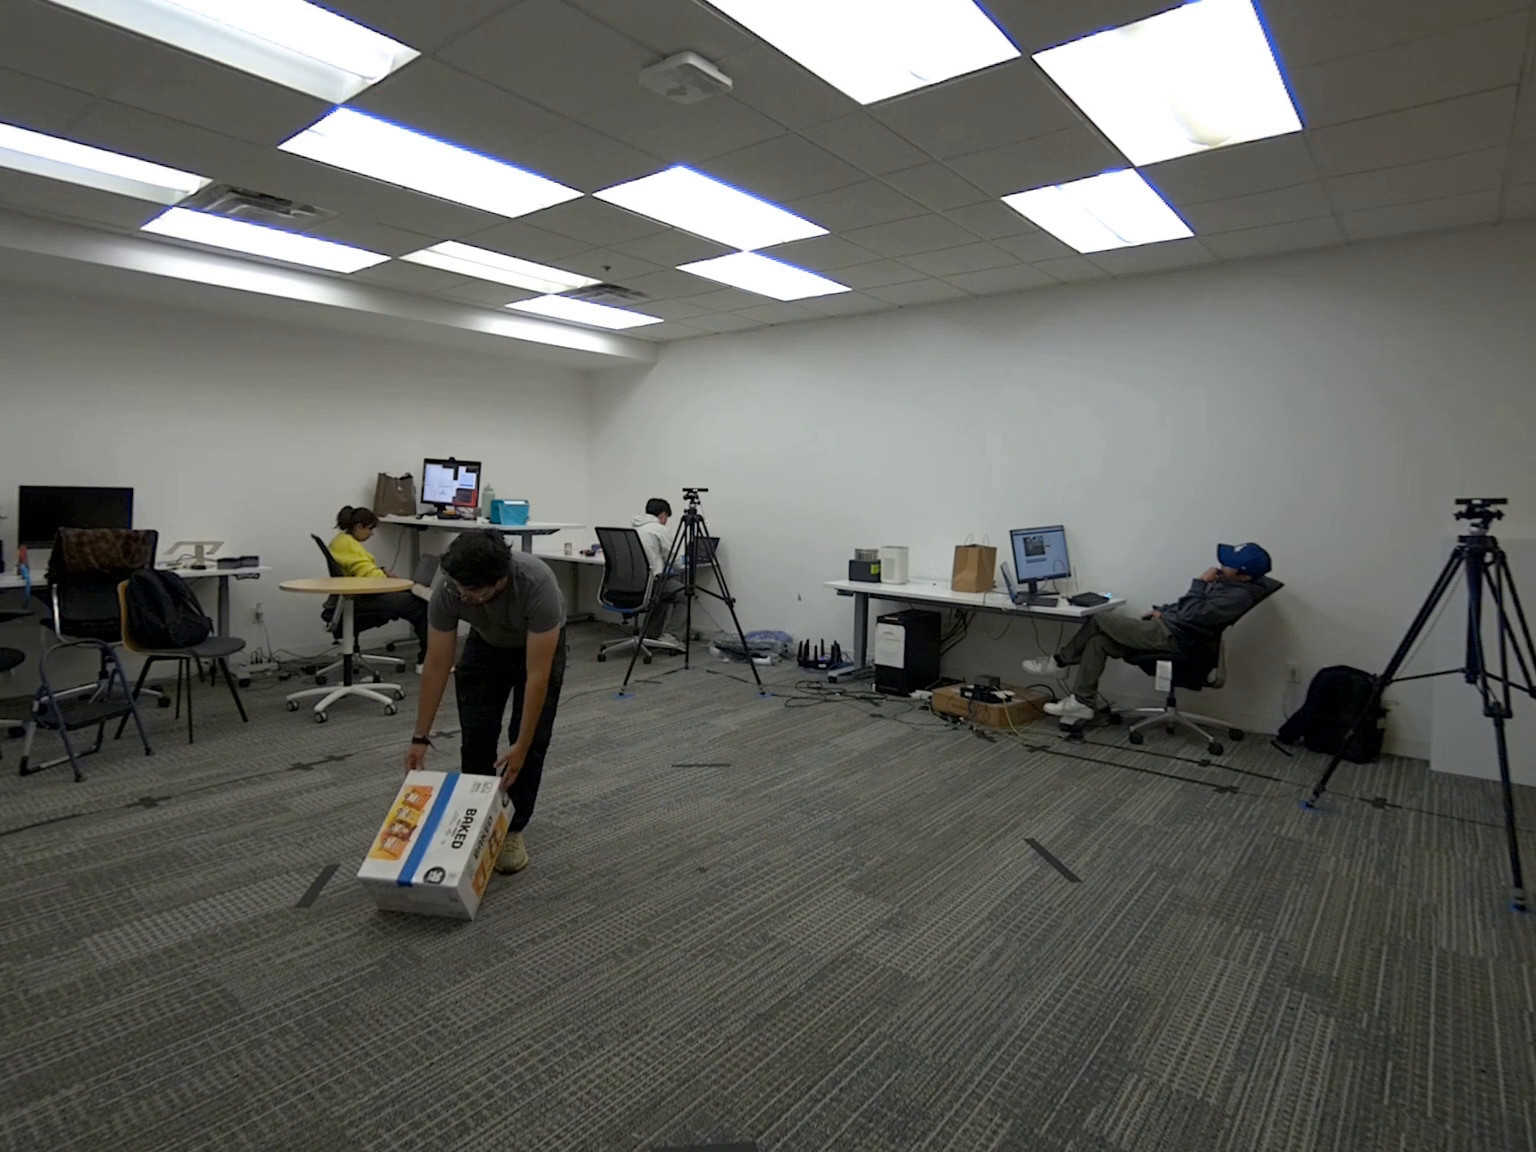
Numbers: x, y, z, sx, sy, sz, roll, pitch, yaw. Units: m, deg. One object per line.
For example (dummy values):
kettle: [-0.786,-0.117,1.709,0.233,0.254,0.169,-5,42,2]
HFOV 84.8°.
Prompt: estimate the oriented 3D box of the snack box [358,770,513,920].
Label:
snack box: [-1.109,0.889,2.839,0.344,0.199,0.414,0,41,9]
